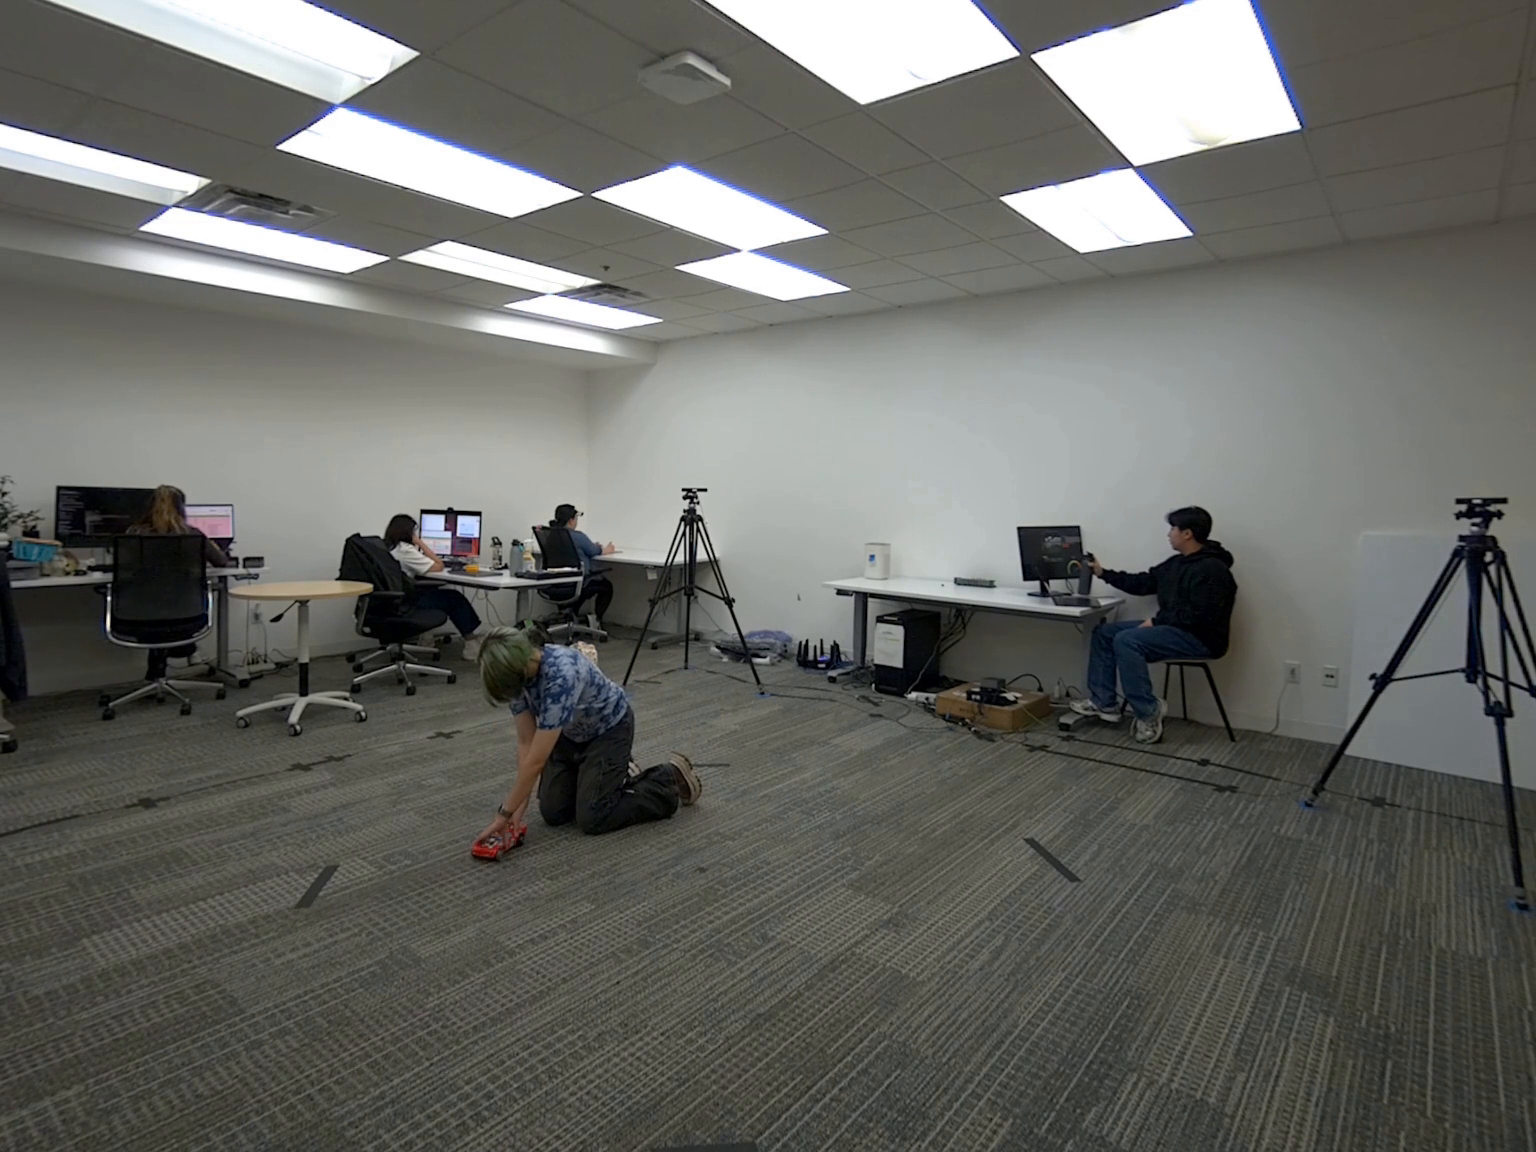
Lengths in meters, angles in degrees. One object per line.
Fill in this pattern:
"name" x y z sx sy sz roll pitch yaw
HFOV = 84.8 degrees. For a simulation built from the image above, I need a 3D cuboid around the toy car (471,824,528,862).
"toy car" -1.042 1.014 3.250 0.133 0.082 0.253 -2 14 18
